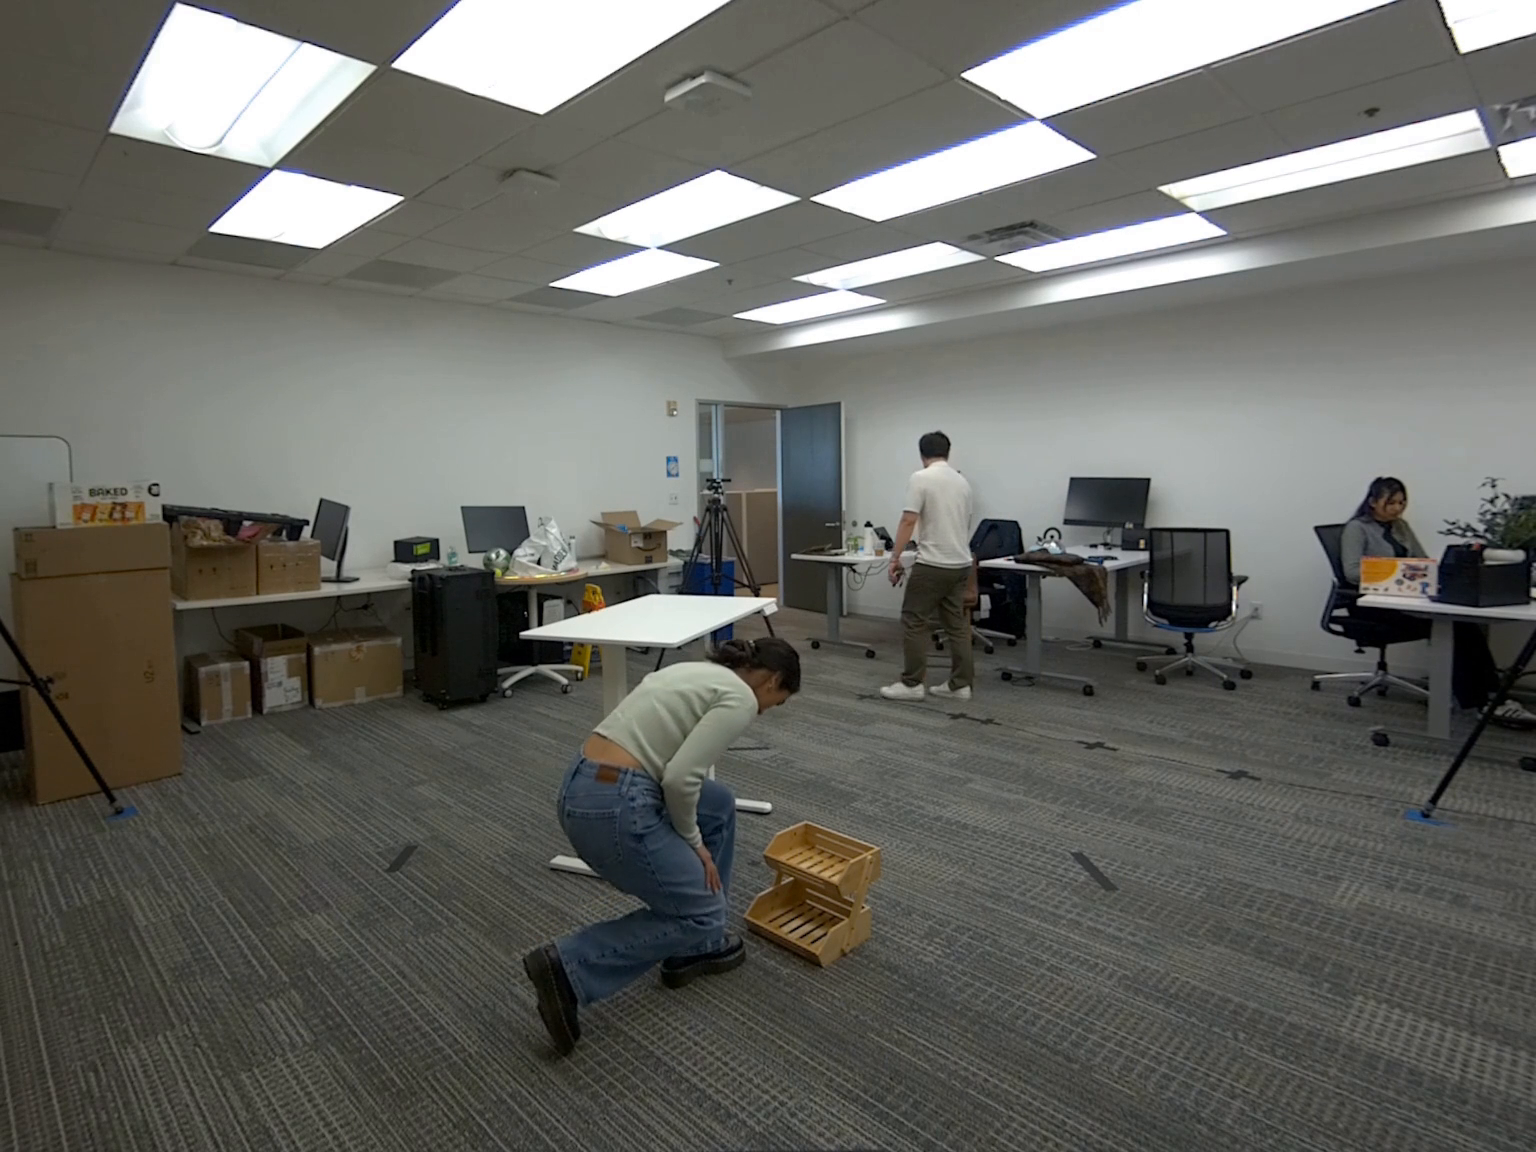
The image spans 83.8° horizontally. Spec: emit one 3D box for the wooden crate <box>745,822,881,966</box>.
[{"bbox_3d":[0.141,0.962,2.627,0.334,0.272,0.294,4,6,45],"label":"wooden crate"}]
